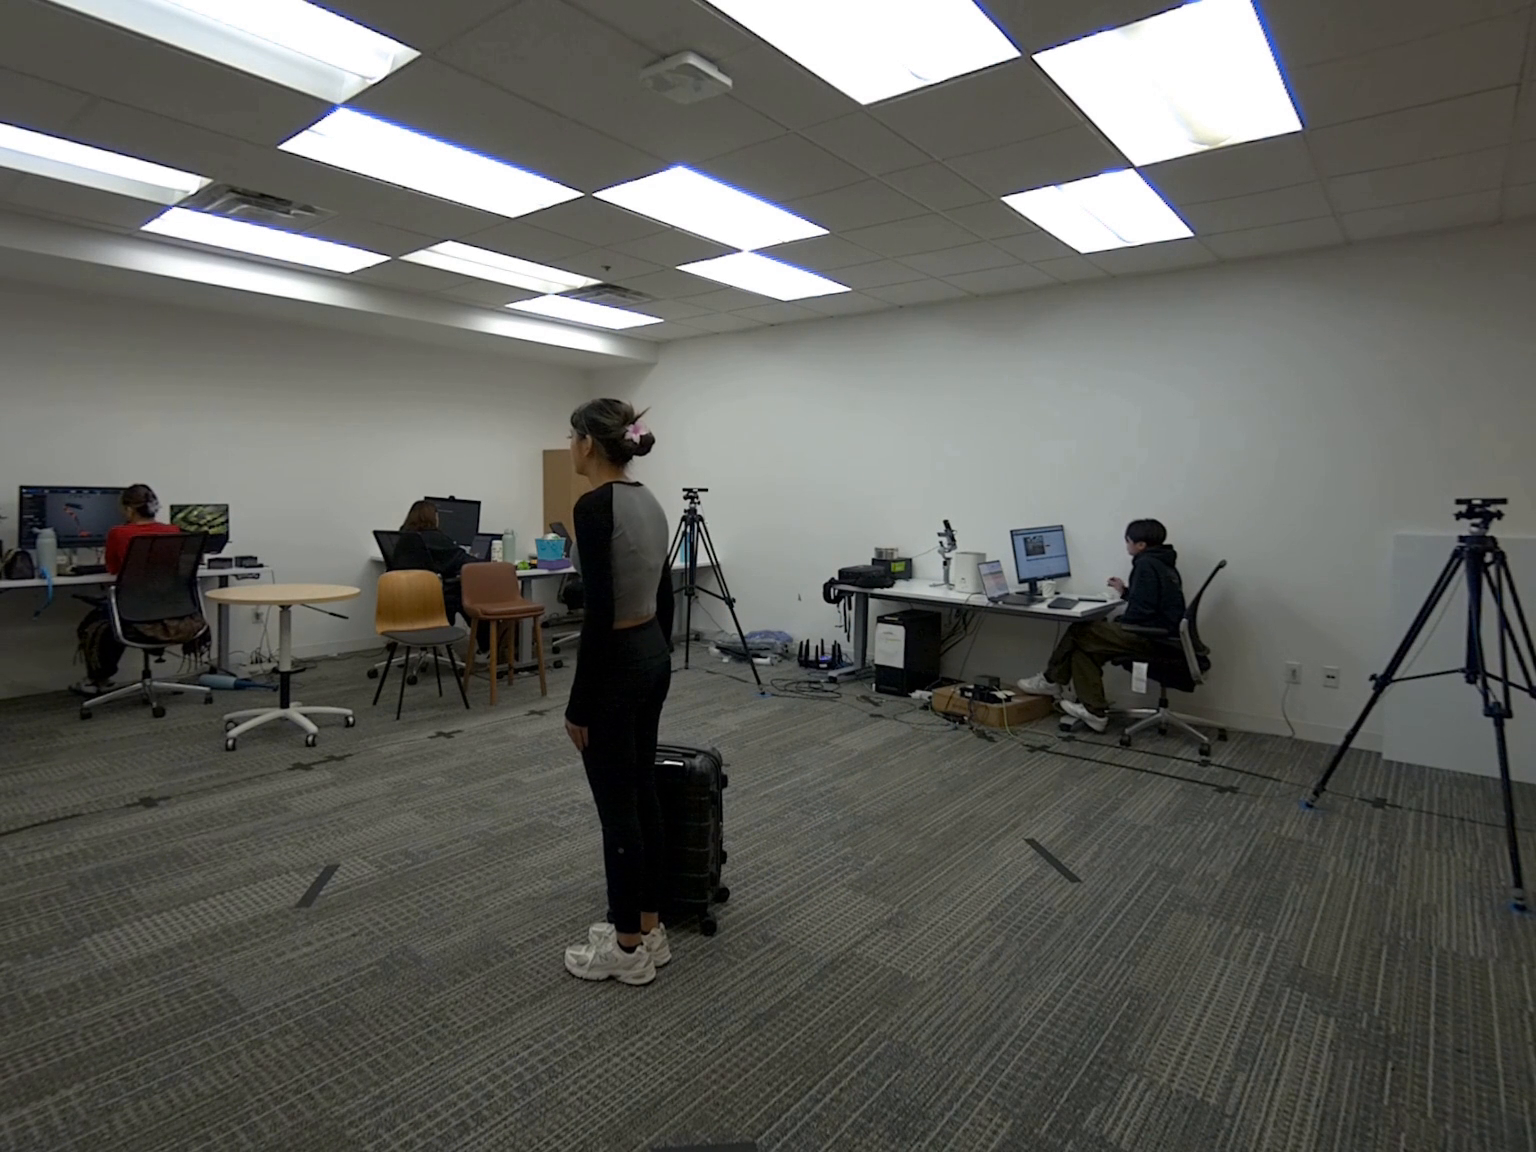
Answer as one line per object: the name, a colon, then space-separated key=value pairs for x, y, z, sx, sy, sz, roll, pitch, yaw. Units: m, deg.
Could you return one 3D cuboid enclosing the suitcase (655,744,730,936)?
suitcase: x=-0.338 y=0.822 z=2.780 sx=0.380 sy=0.549 sz=0.246 roll=0 pitch=2 yaw=10
